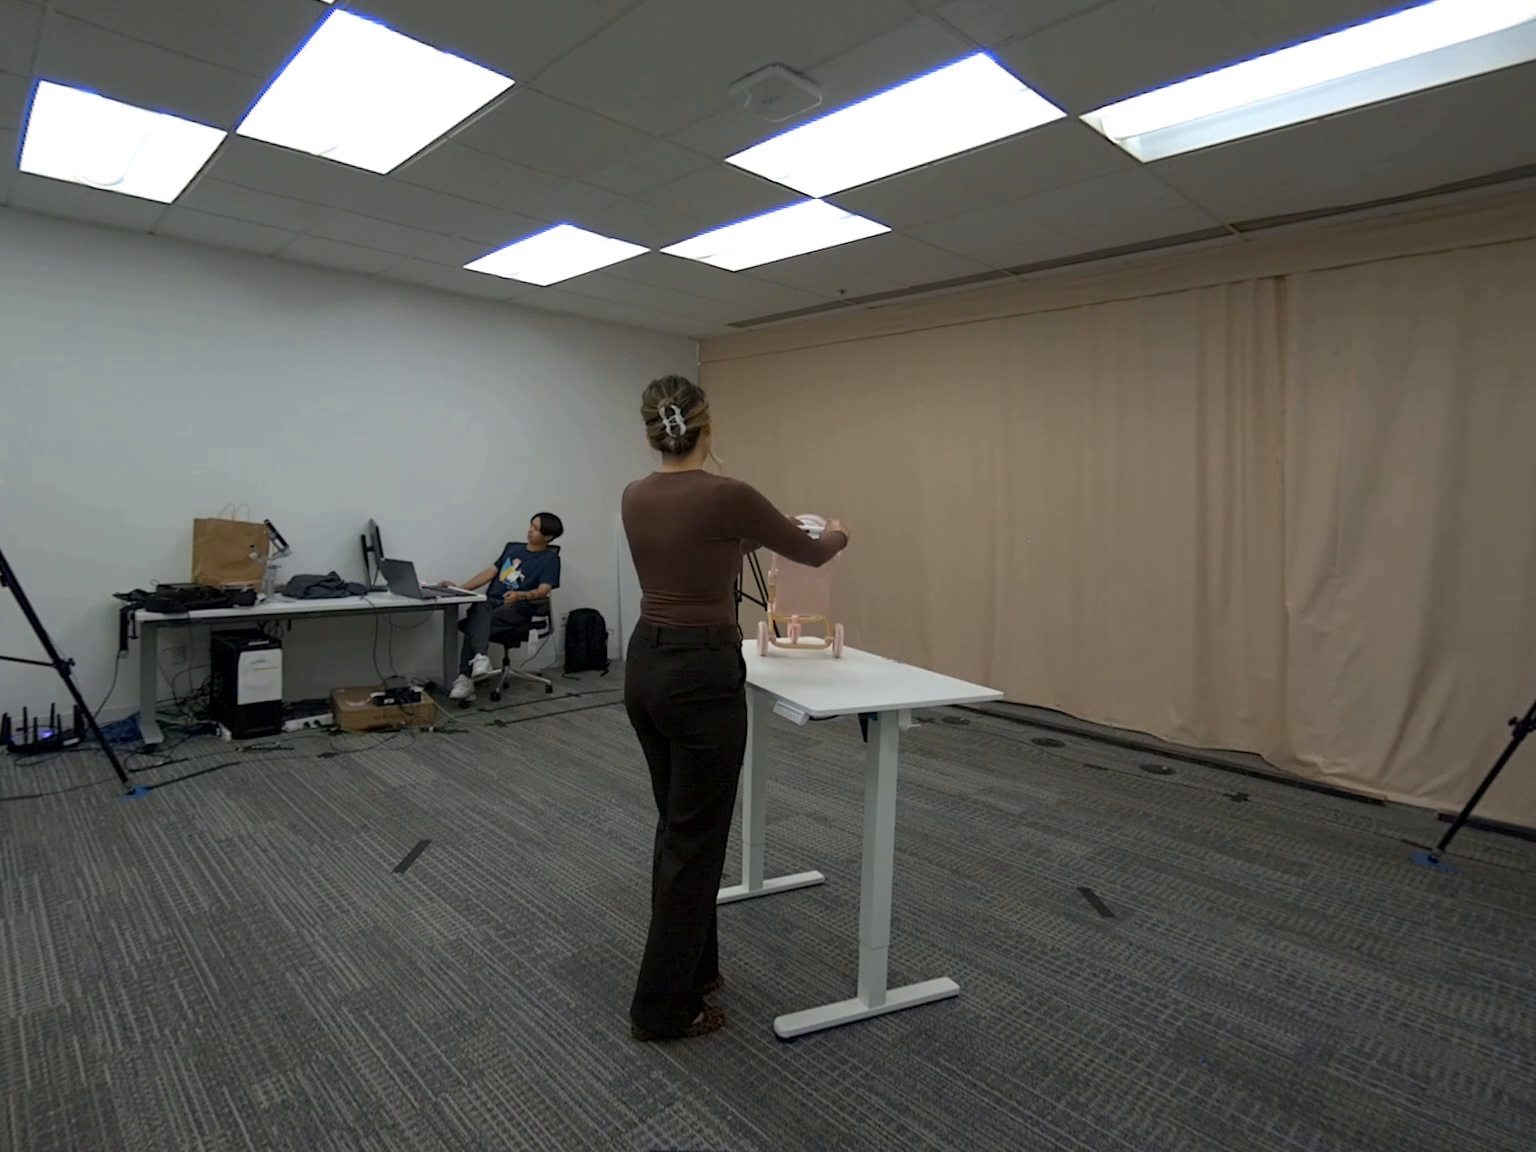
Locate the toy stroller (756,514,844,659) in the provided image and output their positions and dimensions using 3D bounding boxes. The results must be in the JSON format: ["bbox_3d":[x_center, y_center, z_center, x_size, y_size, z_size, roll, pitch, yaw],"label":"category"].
[{"bbox_3d":[0.112,0.039,2.799,0.282,0.528,0.345,3,19,2],"label":"toy stroller"}]
